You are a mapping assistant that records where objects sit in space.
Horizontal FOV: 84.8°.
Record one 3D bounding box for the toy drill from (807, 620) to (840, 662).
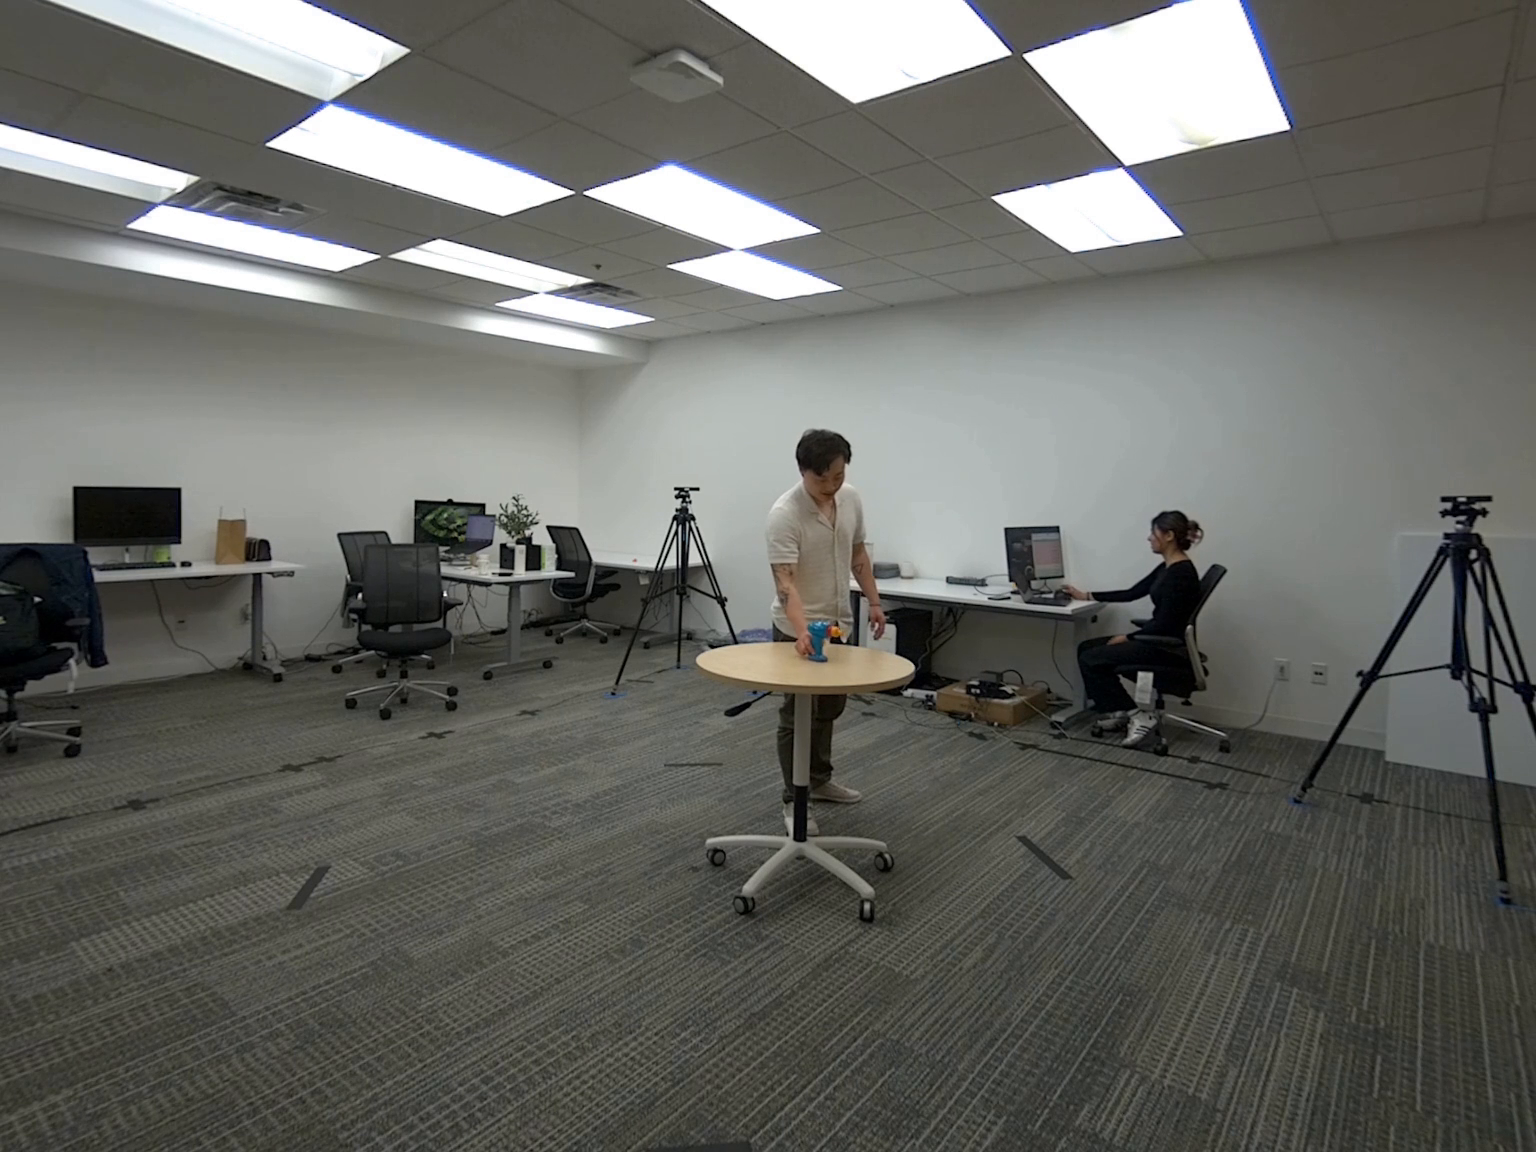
[{"bbox_3d":[0.201,0.228,2.999,0.175,0.146,0.059,3,1,40],"label":"toy drill"}]
